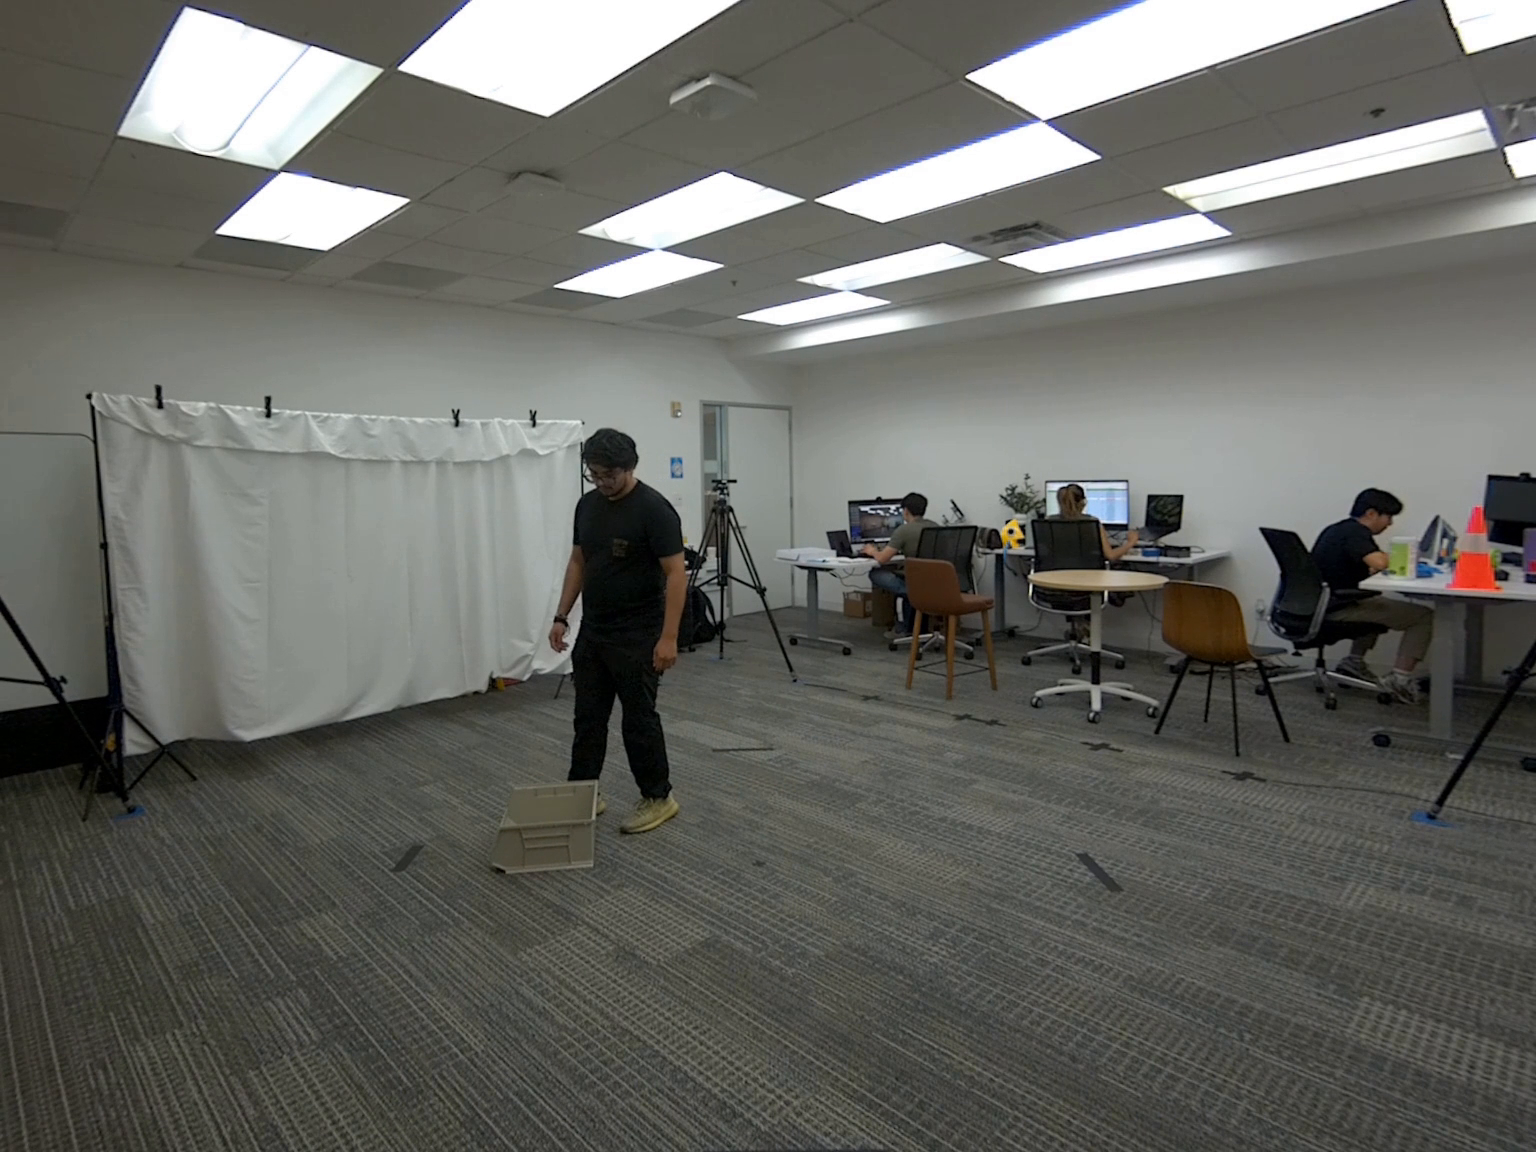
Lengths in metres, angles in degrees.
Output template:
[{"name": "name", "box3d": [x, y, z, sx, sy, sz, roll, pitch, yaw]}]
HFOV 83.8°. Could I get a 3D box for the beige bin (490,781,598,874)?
[{"name": "beige bin", "box3d": [-0.849, 0.955, 3.290, 0.375, 0.188, 0.427, -1, 4, -8]}]
